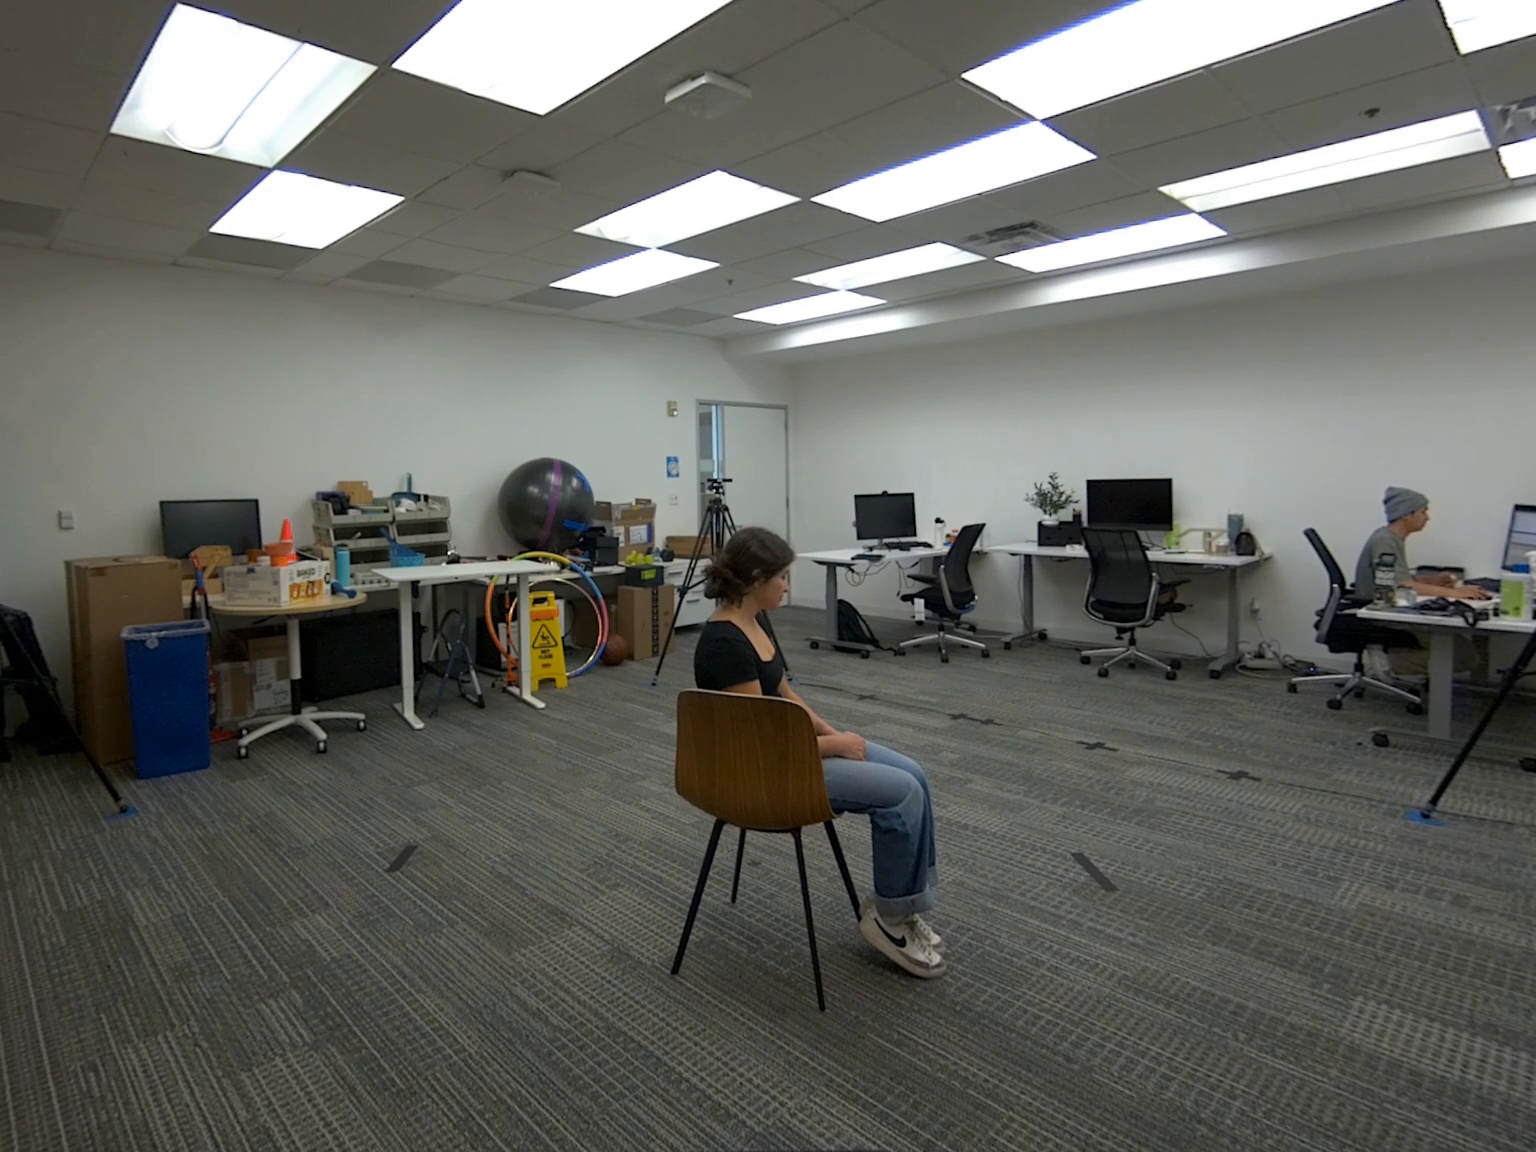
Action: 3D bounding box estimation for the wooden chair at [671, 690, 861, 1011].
[{"bbox_3d":[0.008,0.689,2.507,0.488,0.870,0.516,2,9,22],"label":"wooden chair"}]
